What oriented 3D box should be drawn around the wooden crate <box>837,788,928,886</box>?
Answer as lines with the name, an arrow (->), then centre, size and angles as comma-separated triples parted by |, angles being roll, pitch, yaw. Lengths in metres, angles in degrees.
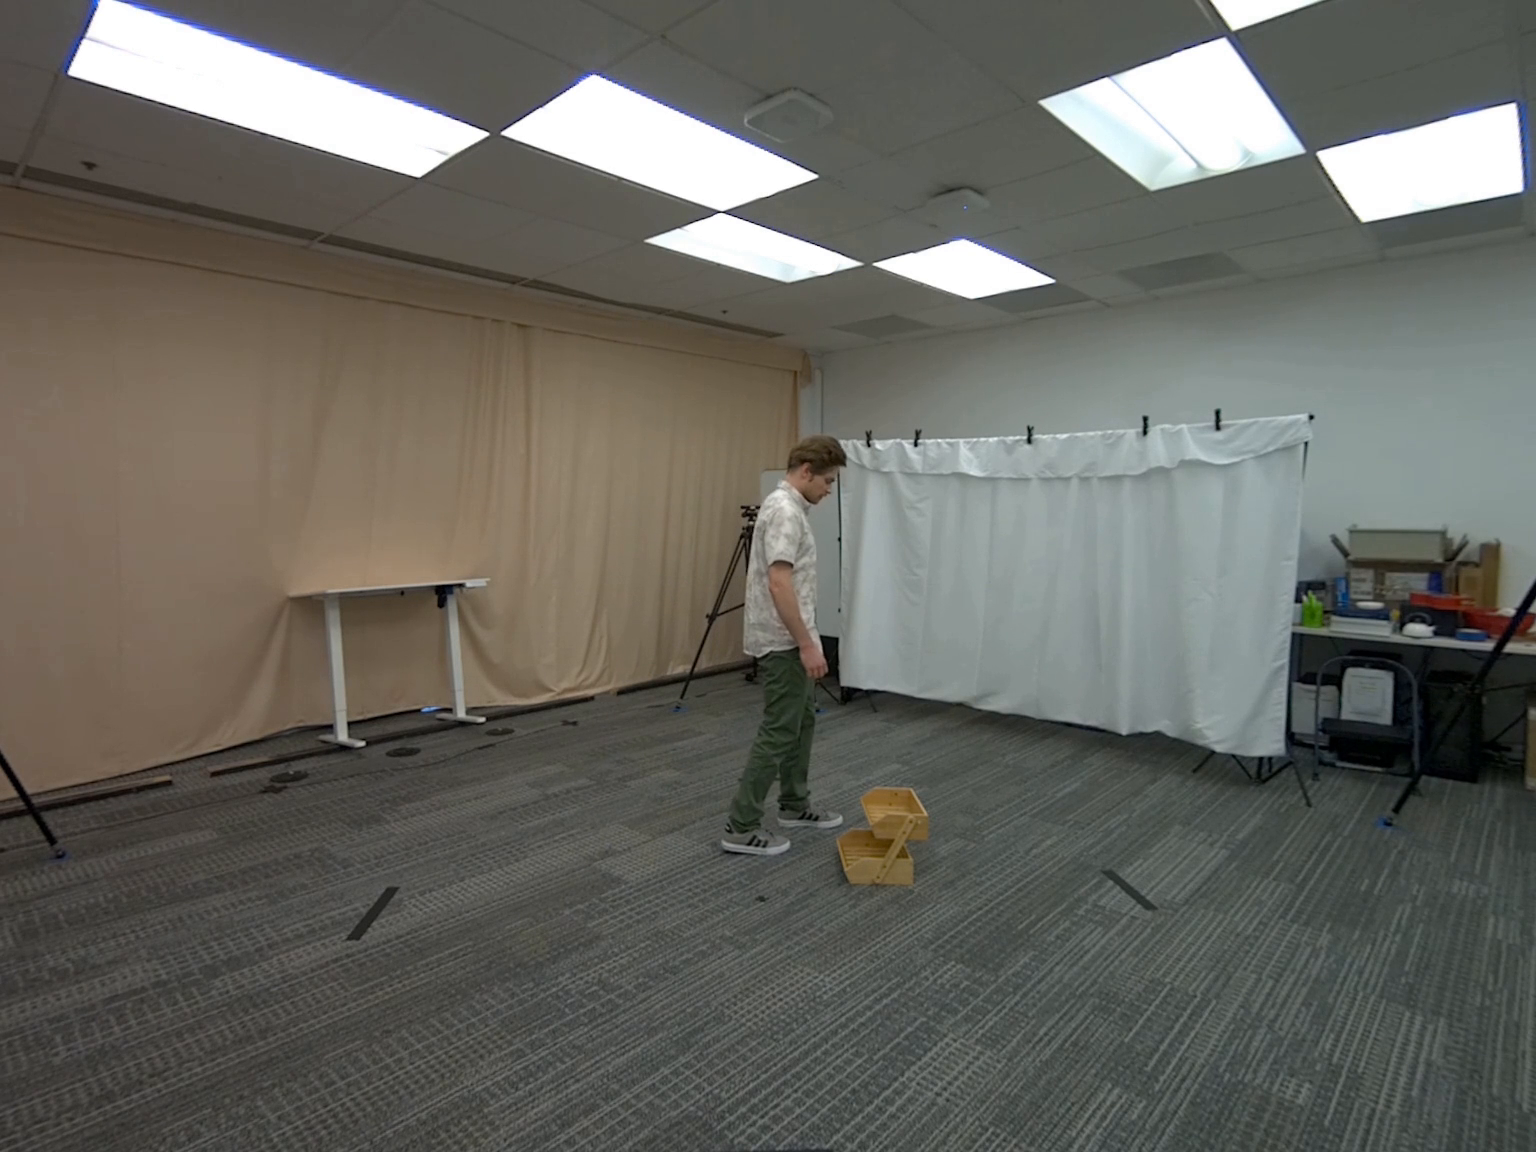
wooden crate -> 0.428, 0.985, 3.238 | 0.302, 0.273, 0.325 | 1, 4, 0
